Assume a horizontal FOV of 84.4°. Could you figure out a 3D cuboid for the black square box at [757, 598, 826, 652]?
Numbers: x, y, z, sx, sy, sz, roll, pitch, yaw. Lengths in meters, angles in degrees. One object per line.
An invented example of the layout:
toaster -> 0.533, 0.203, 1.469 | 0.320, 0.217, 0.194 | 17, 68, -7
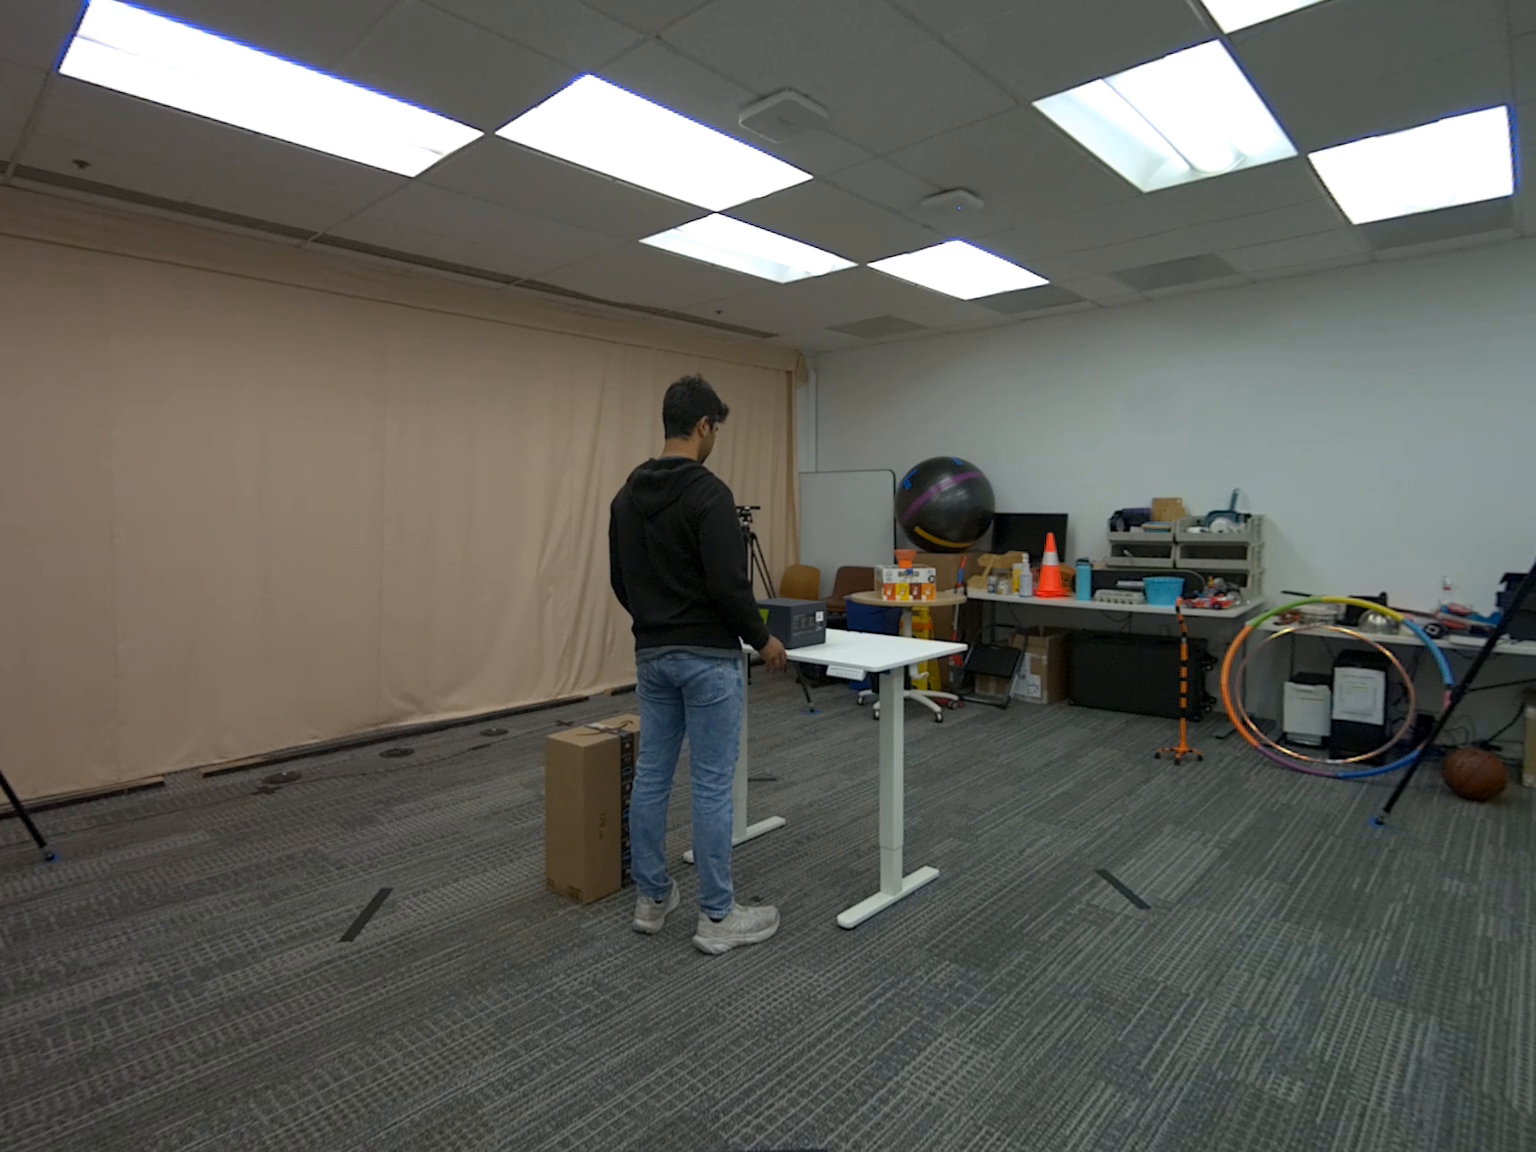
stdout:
black square box -> 0.066, 0.173, 3.110 | 0.235, 0.155, 0.210 | 3, 5, 42
